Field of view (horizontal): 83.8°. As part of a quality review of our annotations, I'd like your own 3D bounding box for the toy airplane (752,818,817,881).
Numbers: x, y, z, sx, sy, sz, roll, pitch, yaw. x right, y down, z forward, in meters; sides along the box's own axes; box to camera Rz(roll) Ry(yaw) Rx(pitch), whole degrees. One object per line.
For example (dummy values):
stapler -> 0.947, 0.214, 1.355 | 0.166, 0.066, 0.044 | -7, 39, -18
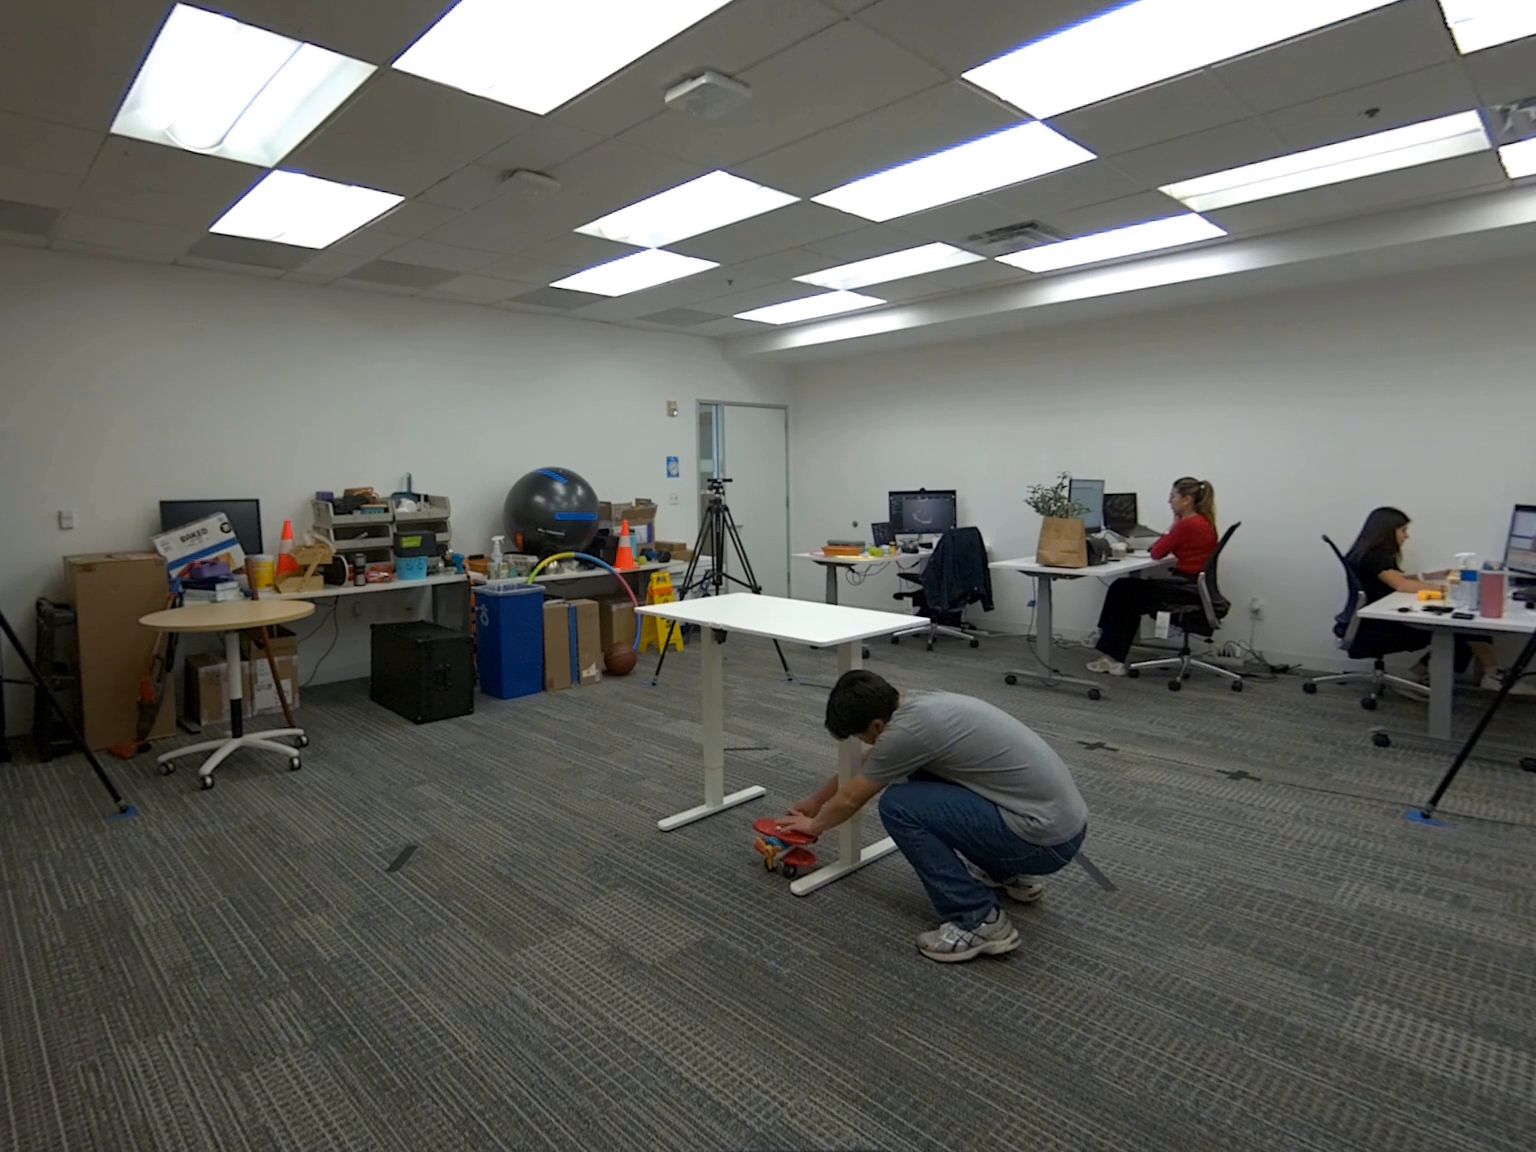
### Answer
toy airplane -> 0.071, 0.945, 3.070 | 0.254, 0.153, 0.261 | -9, 20, 15
